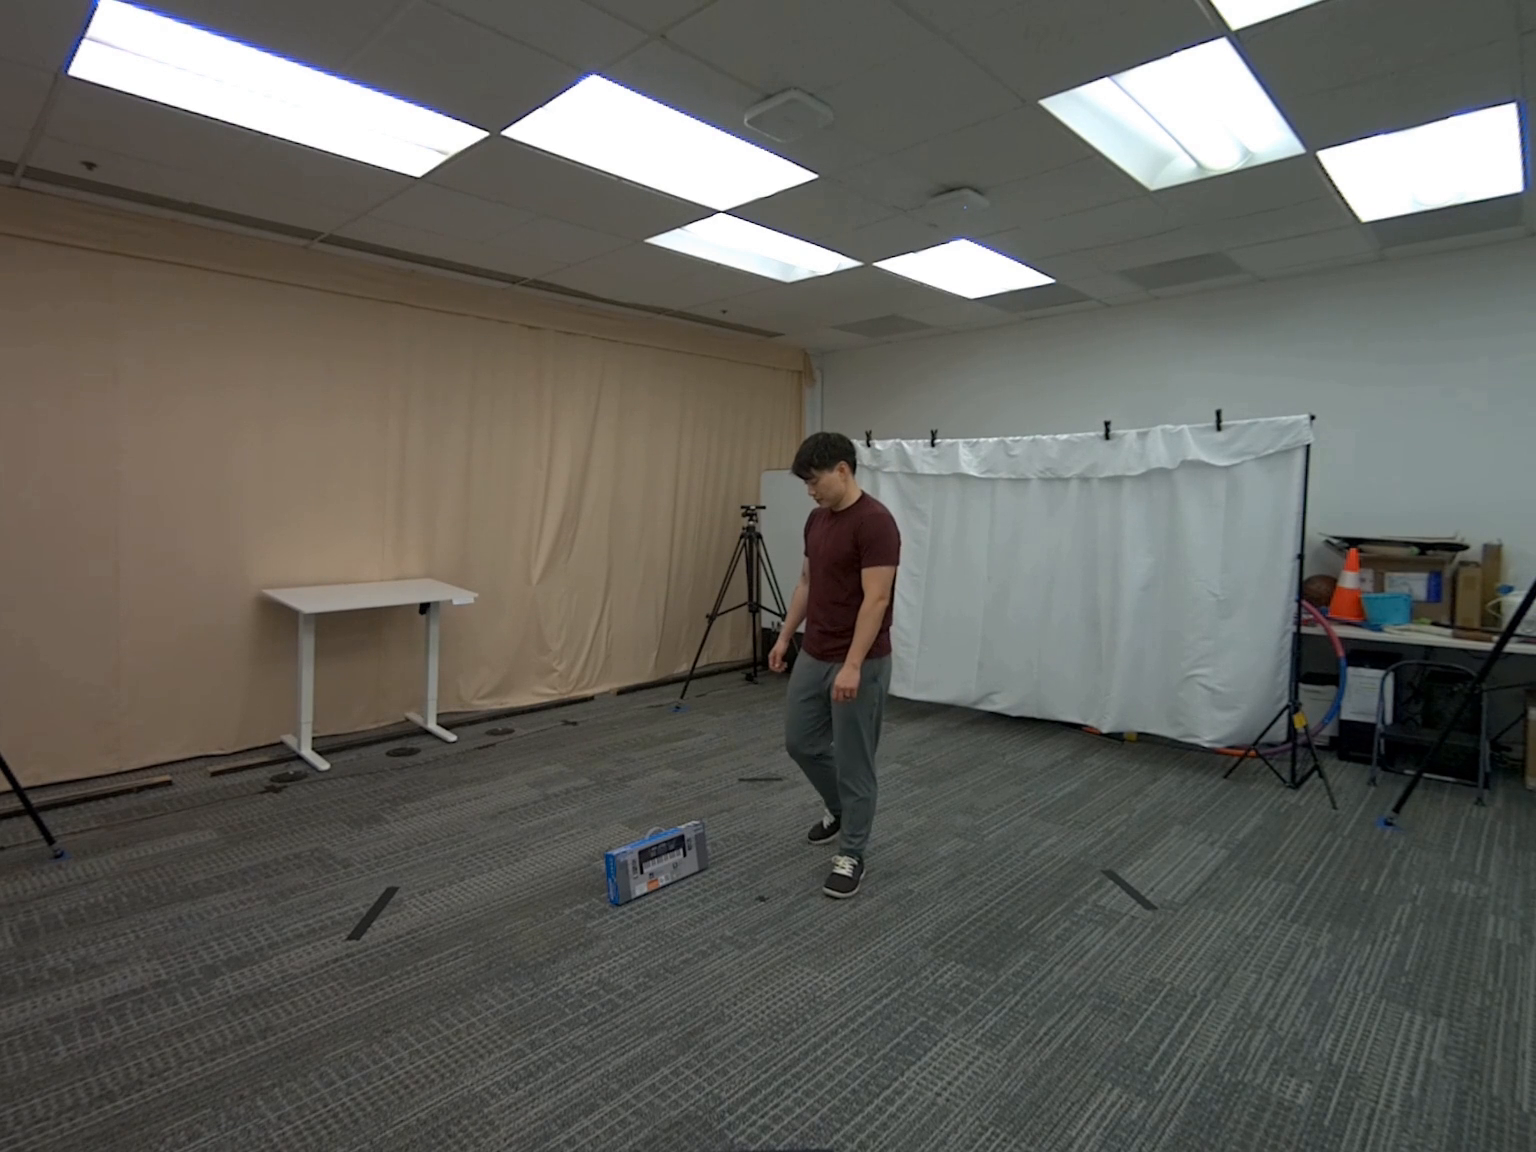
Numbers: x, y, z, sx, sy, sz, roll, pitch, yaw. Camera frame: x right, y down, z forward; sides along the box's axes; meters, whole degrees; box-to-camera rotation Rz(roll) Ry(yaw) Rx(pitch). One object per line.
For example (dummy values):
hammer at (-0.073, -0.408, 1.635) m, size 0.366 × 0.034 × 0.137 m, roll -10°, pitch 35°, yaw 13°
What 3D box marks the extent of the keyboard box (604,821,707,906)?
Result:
keyboard box at (-0.402, 1.052, 3.101) m, size 0.061 × 0.176 × 0.423 m, roll -9°, pitch -3°, yaw 45°
